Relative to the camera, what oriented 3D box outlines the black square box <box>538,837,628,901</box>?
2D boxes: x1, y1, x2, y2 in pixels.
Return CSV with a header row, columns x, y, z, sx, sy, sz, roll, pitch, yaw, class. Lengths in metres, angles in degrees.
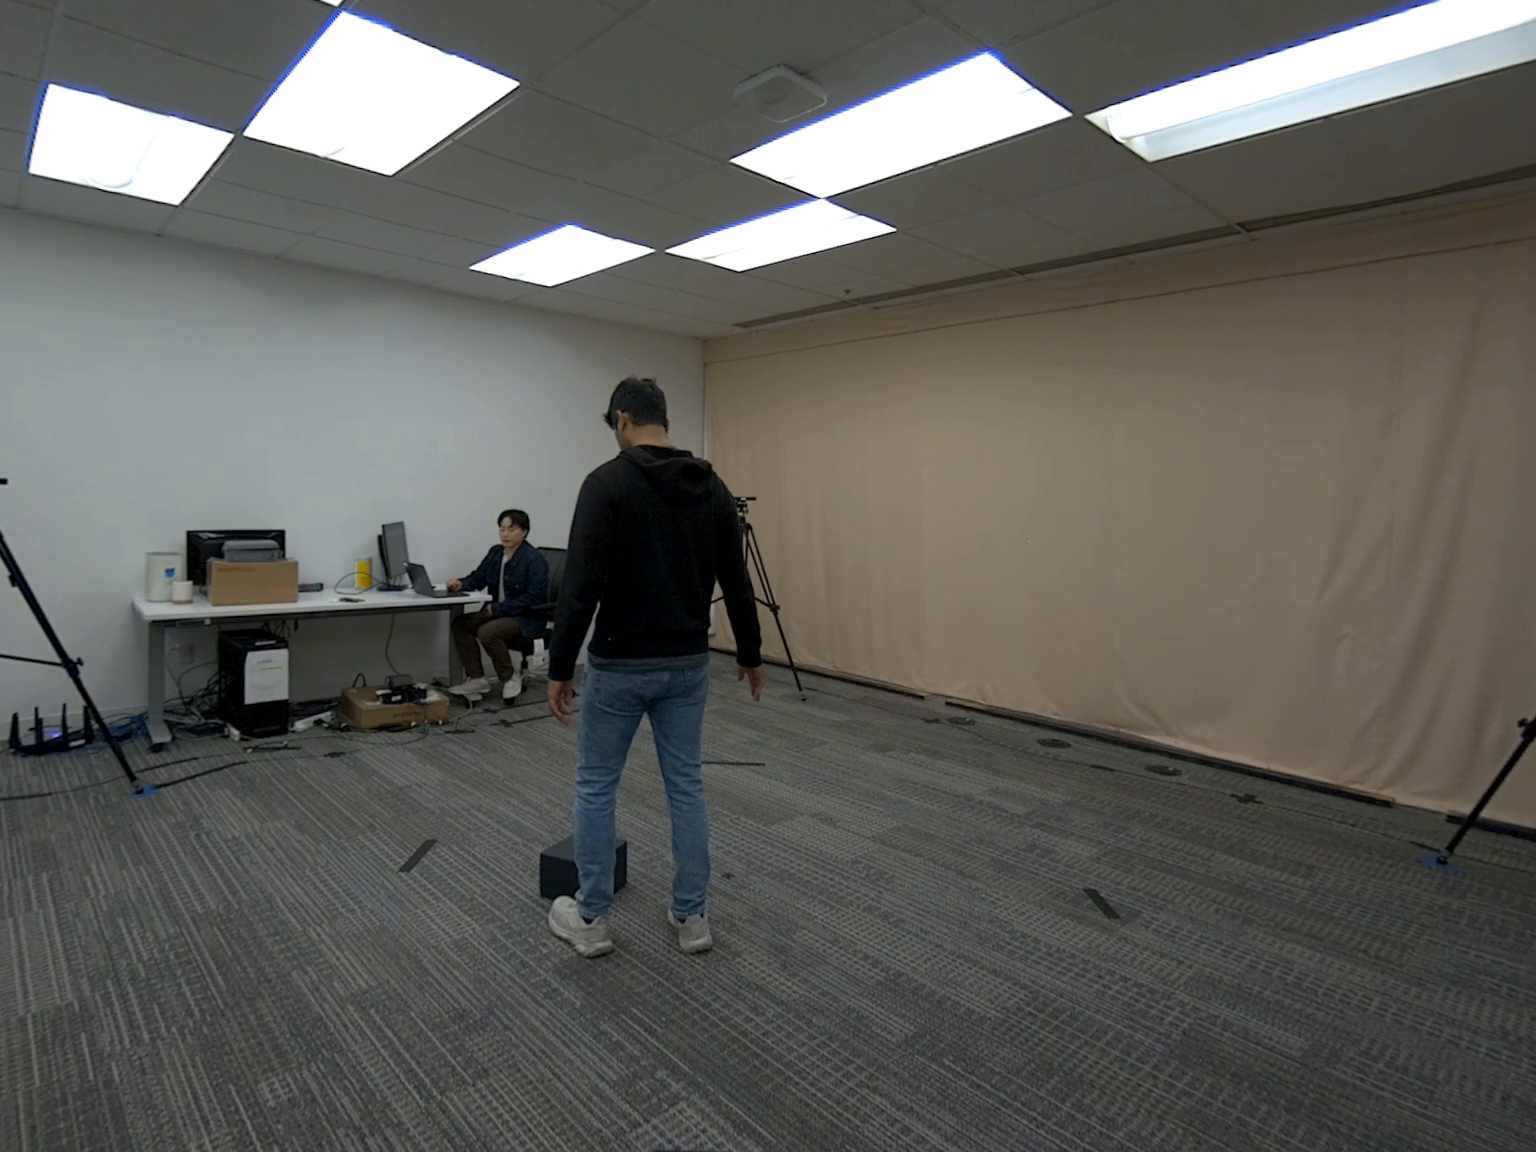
x,y,z,sx,sy,sz,roll,pitch,yaw,class
-0.655,1.028,2.948,0.221,0.155,0.224,3,5,24,black square box
